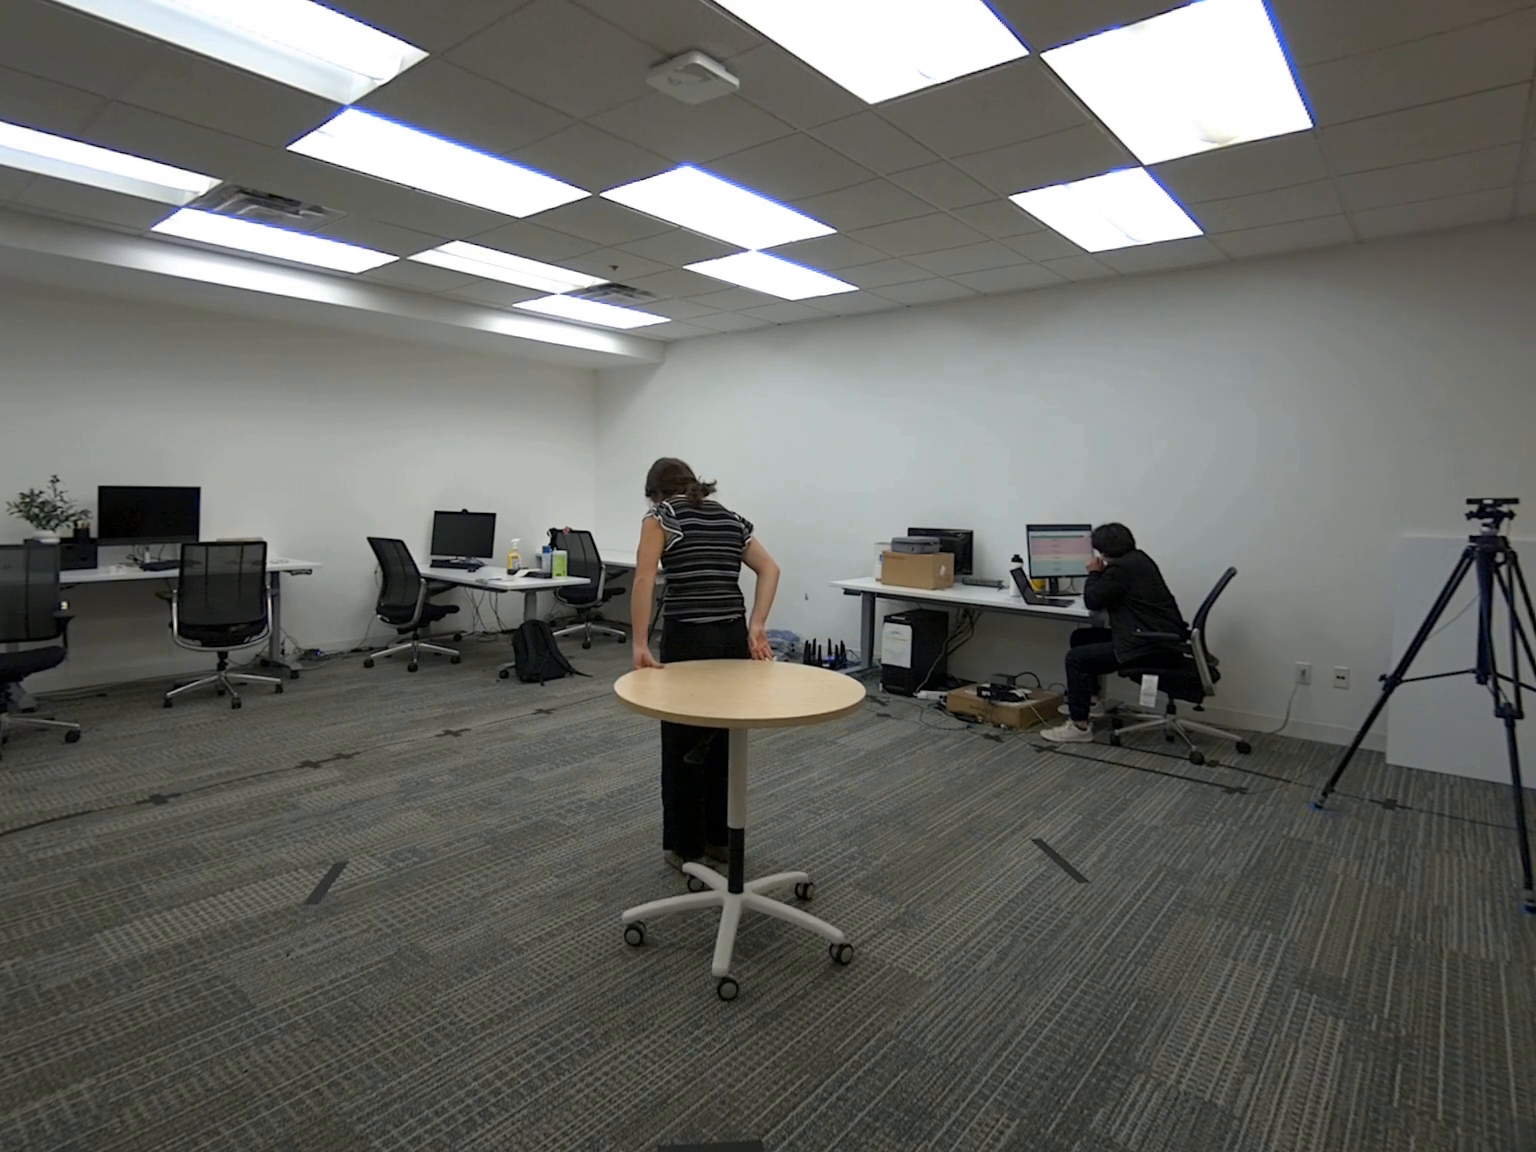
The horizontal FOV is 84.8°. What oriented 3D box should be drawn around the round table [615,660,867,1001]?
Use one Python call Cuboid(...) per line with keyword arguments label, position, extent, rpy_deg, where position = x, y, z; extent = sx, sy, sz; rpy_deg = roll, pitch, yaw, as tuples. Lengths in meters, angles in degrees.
Cuboid(label="round table", position=(-0.100, 0.718, 2.647), extent=(0.784, 0.783, 0.789), rpy_deg=(1, 5, -2))
